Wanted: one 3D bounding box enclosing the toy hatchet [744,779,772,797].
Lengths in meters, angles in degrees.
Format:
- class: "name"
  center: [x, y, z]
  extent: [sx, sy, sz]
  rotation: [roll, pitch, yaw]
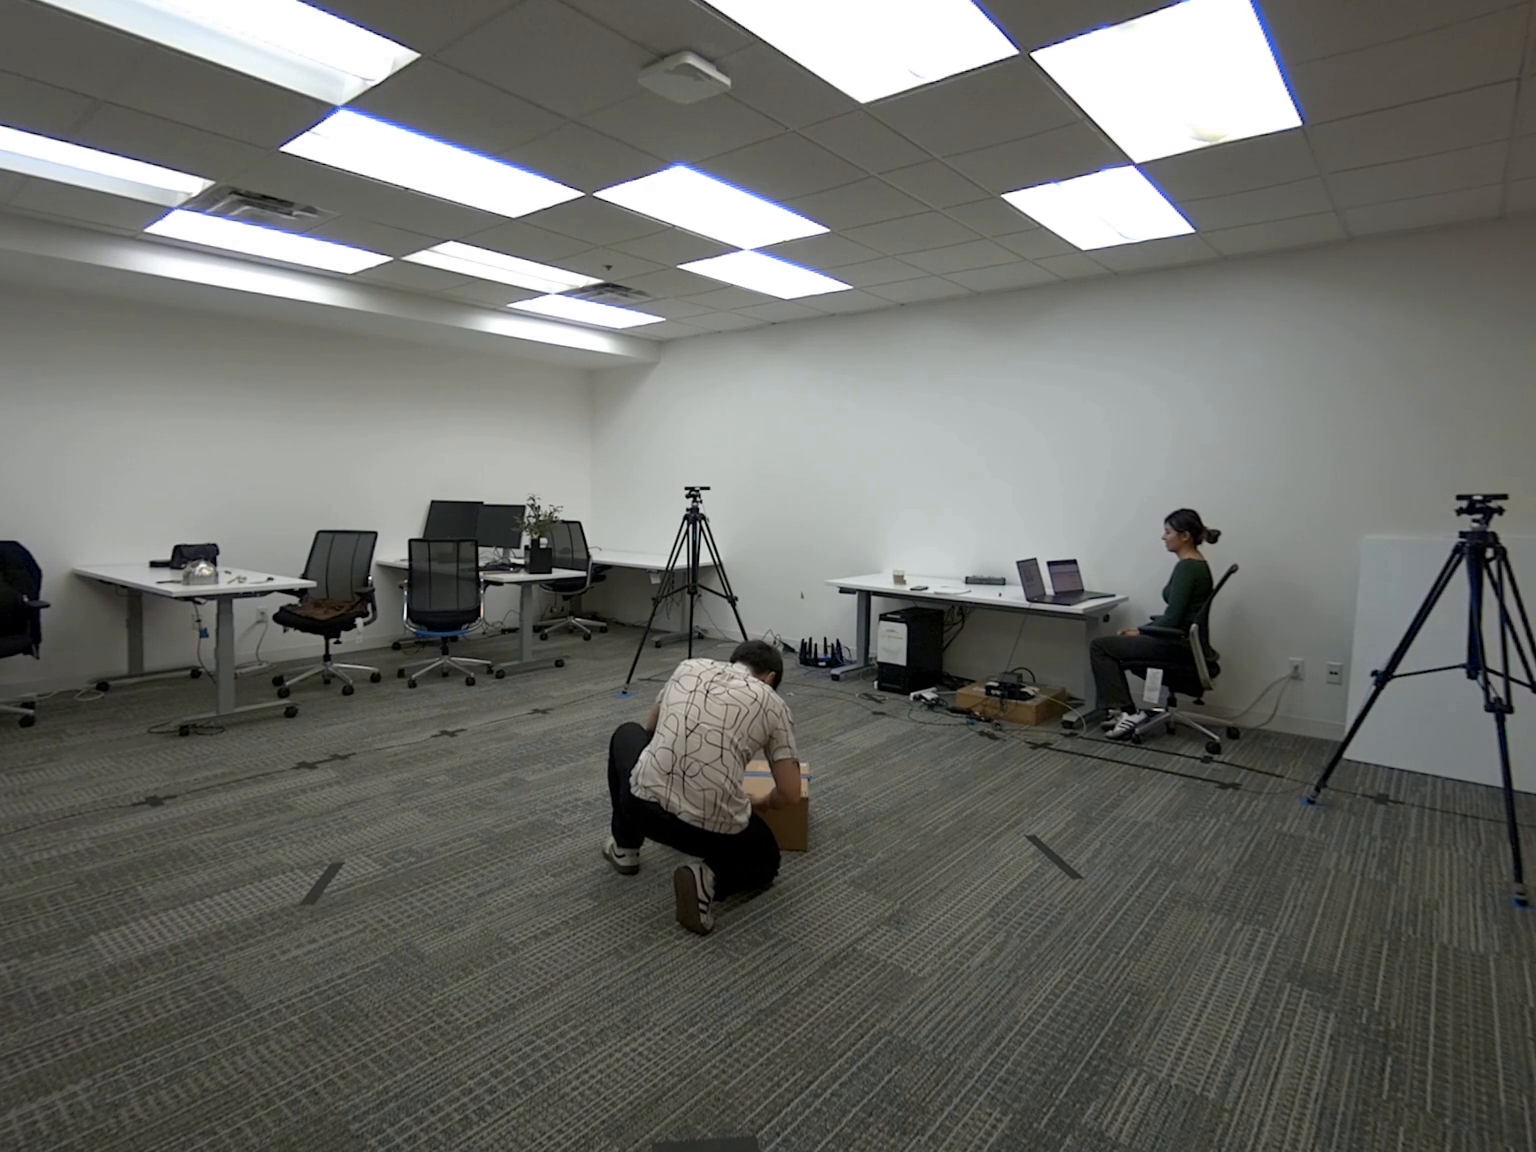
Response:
- class: "toy hatchet"
  center: [-0.100, 0.807, 3.230]
  extent: [0.278, 0.030, 0.126]
  rotation: [10, -26, 29]
